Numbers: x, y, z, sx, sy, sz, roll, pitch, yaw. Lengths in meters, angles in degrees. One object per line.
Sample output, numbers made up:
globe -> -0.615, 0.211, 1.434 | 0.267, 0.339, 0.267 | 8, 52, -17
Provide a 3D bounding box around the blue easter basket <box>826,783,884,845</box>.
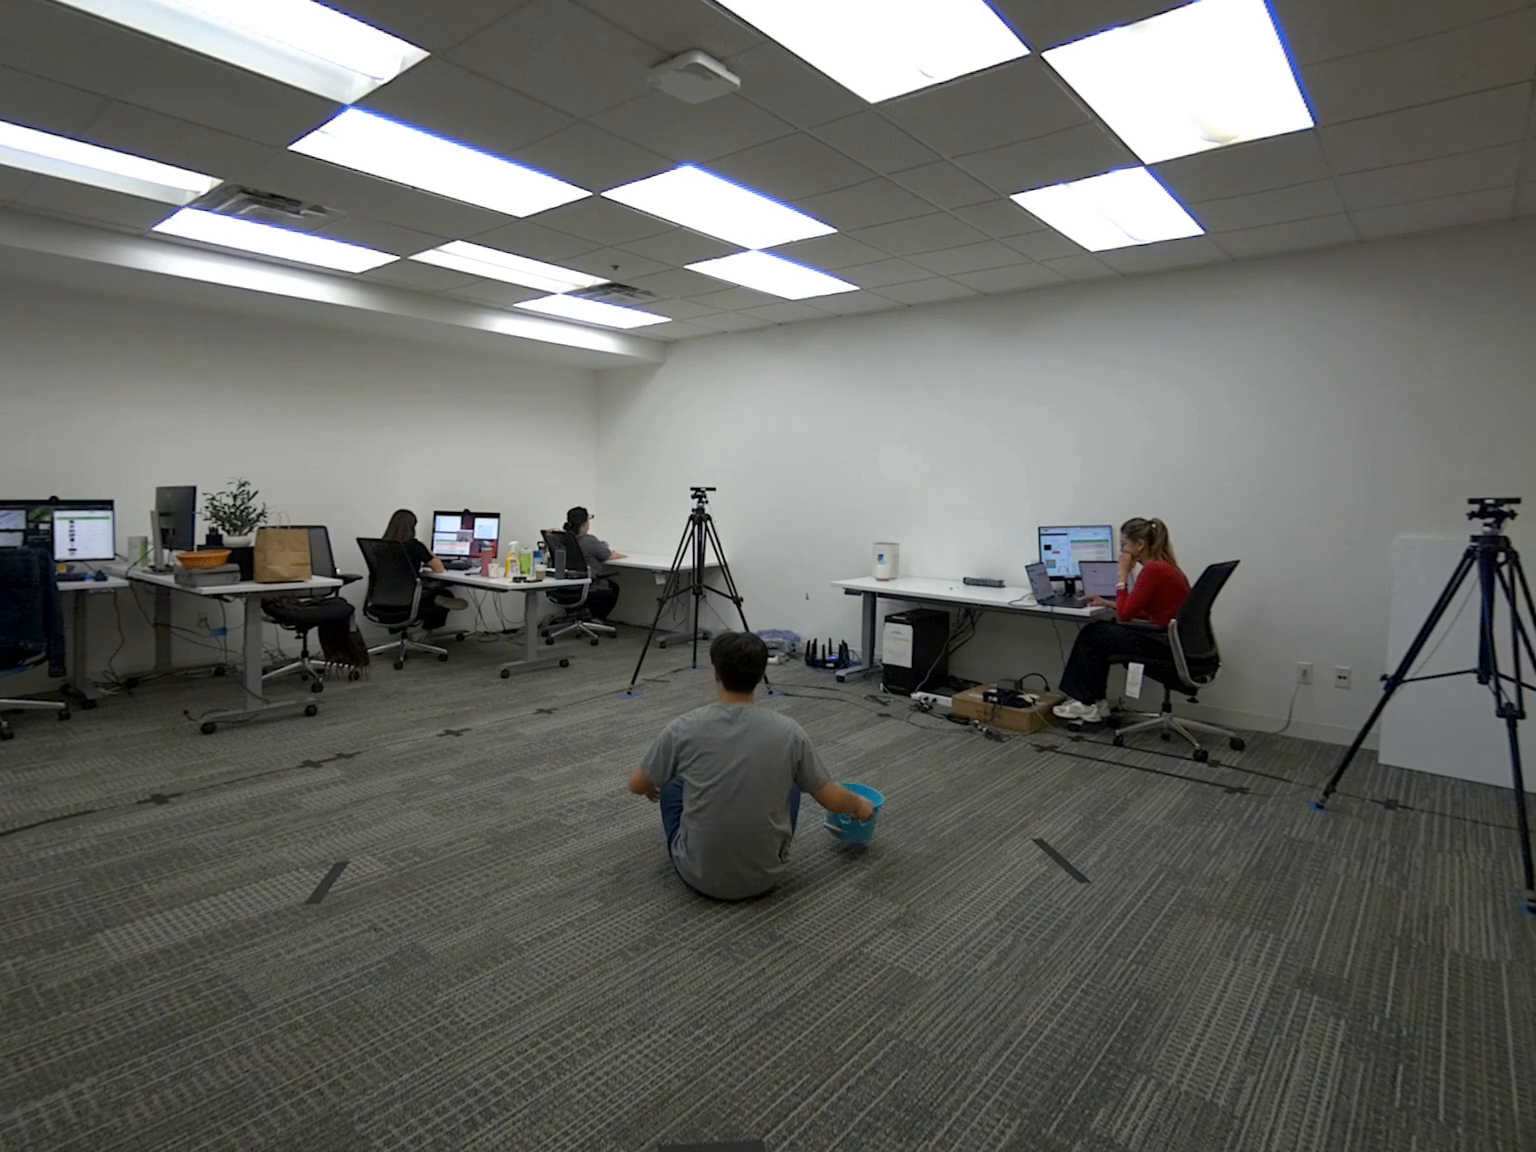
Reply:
blue easter basket -> 0.314, 0.907, 3.337 | 0.243, 0.155, 0.245 | 6, 7, -2
